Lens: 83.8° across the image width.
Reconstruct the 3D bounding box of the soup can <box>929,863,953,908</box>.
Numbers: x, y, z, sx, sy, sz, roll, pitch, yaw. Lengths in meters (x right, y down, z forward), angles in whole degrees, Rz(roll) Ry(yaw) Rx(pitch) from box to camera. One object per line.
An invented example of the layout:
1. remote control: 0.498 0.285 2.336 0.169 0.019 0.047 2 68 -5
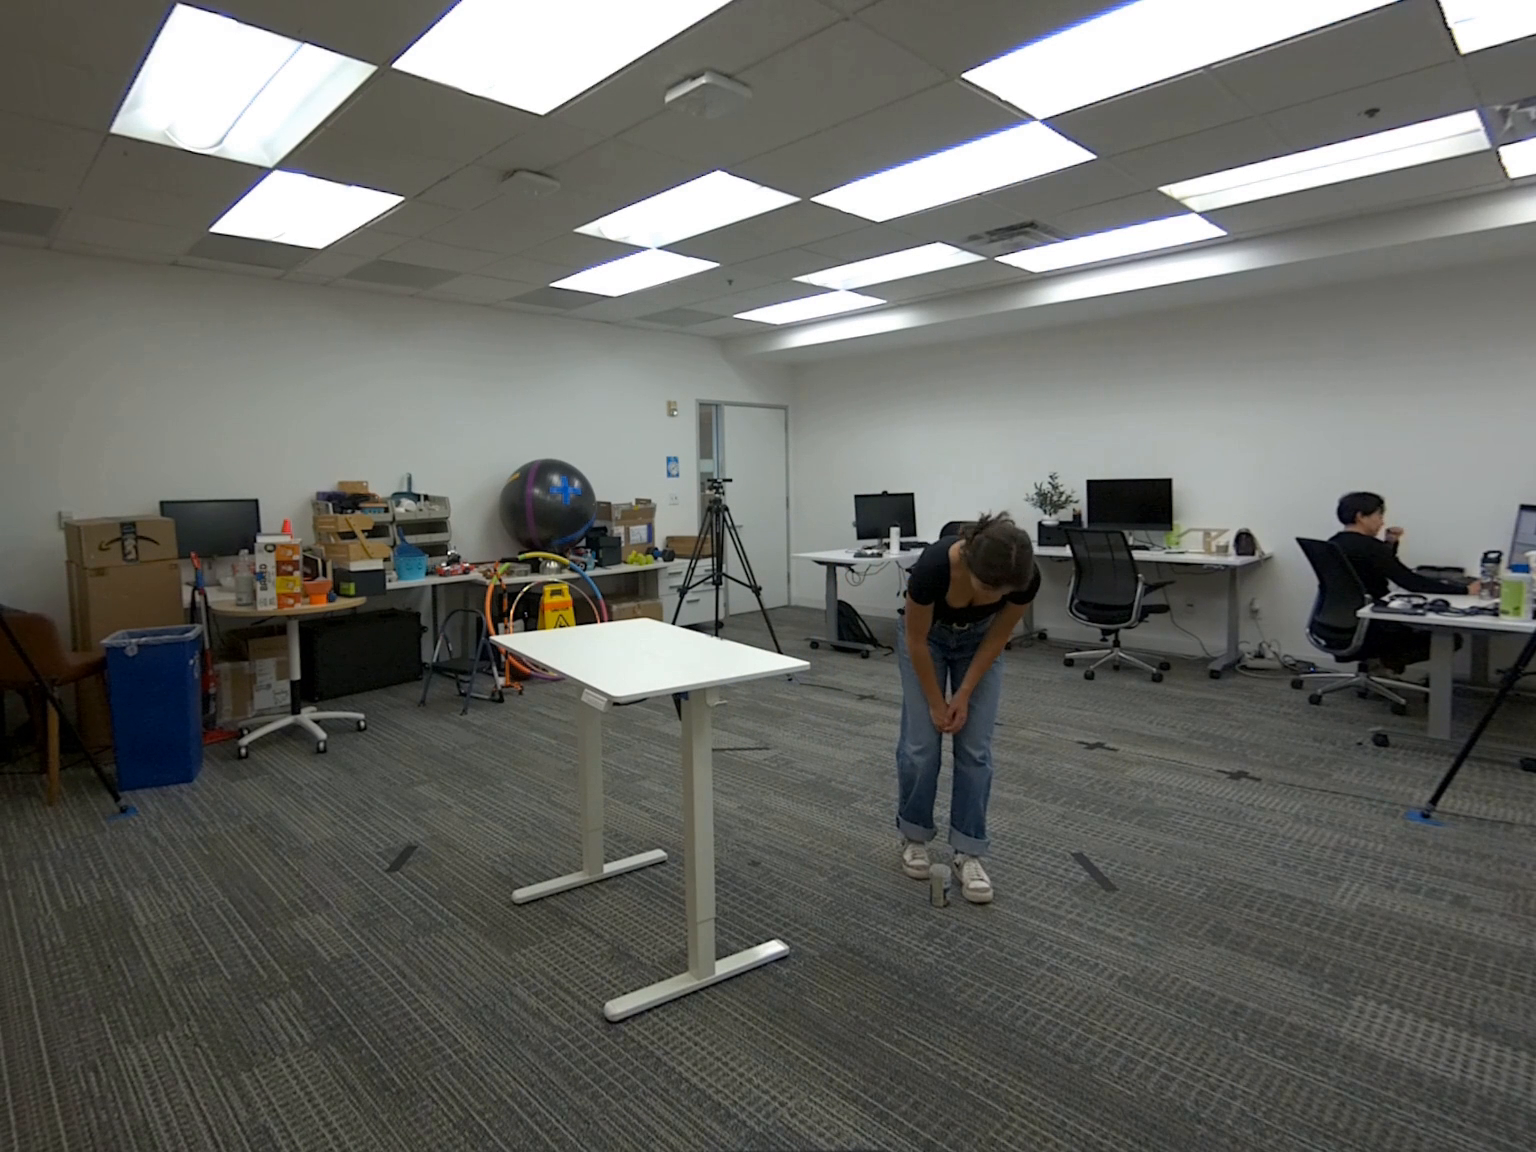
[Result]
1. soup can: 0.552 1.013 2.785 0.067 0.121 0.067 -7 5 -1
